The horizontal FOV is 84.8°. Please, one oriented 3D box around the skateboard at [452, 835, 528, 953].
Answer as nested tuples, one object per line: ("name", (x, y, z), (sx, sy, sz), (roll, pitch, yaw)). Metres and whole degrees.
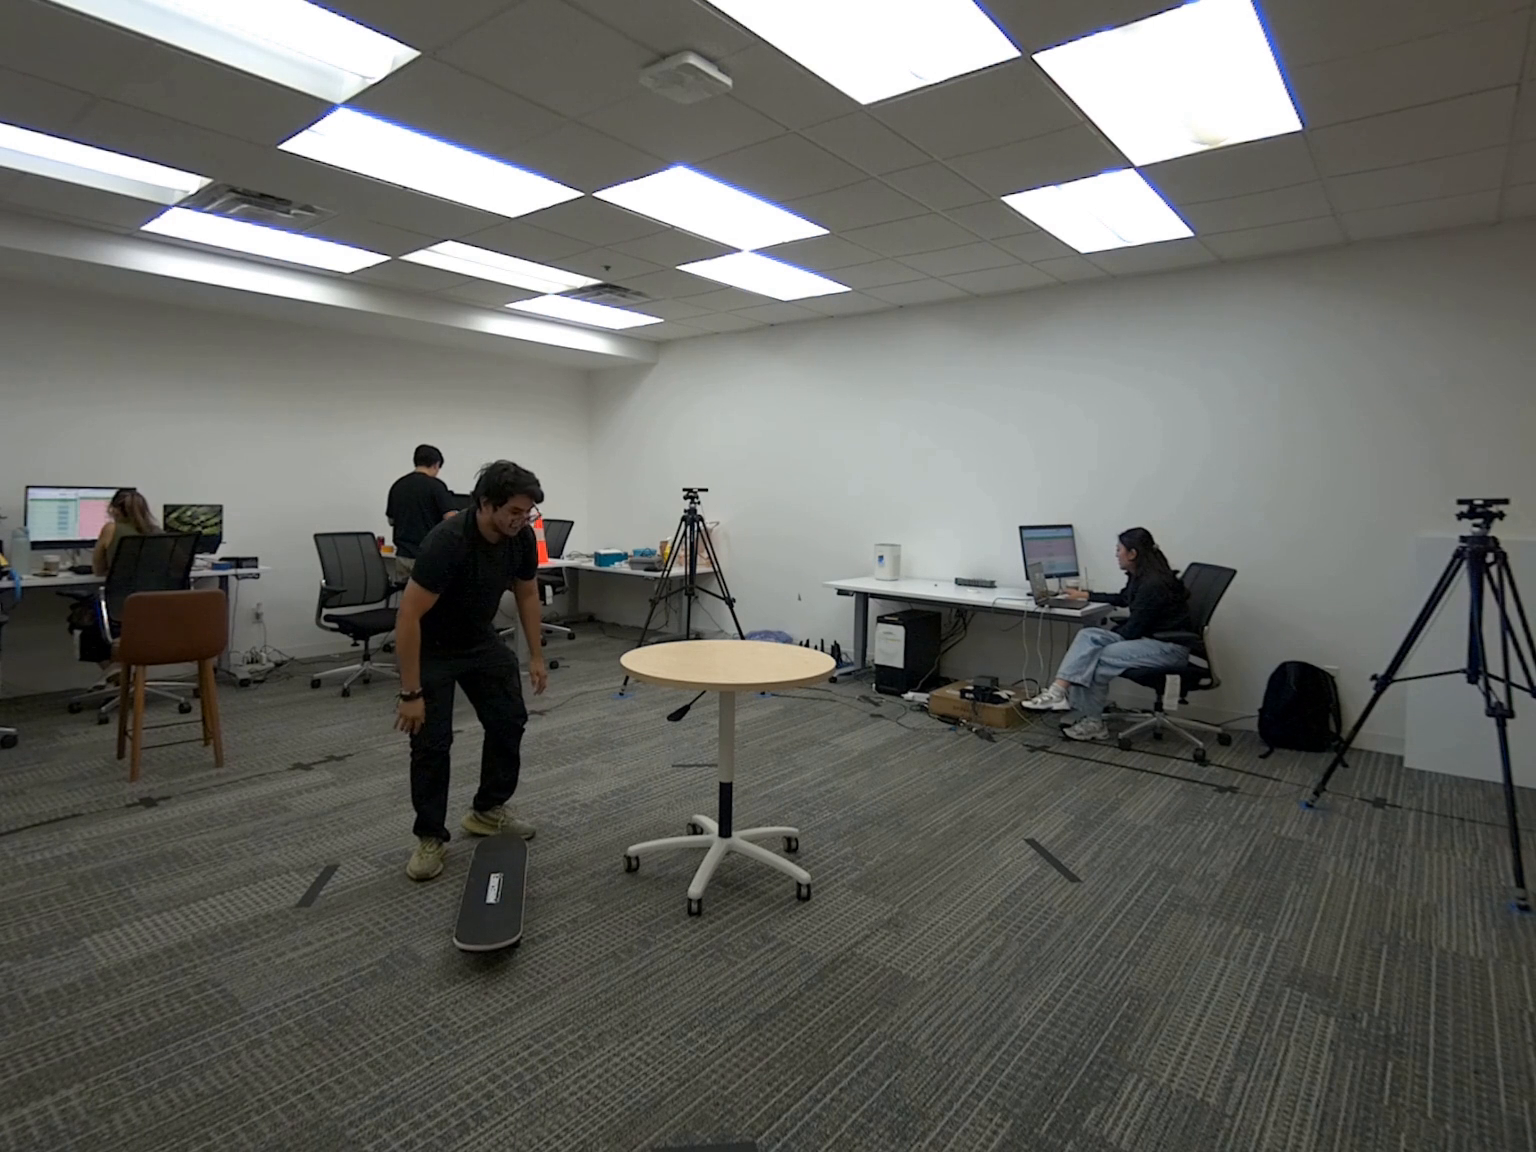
("skateboard", (-0.893, 1.038, 2.753), (0.191, 0.110, 0.799), (0, 6, -13))
